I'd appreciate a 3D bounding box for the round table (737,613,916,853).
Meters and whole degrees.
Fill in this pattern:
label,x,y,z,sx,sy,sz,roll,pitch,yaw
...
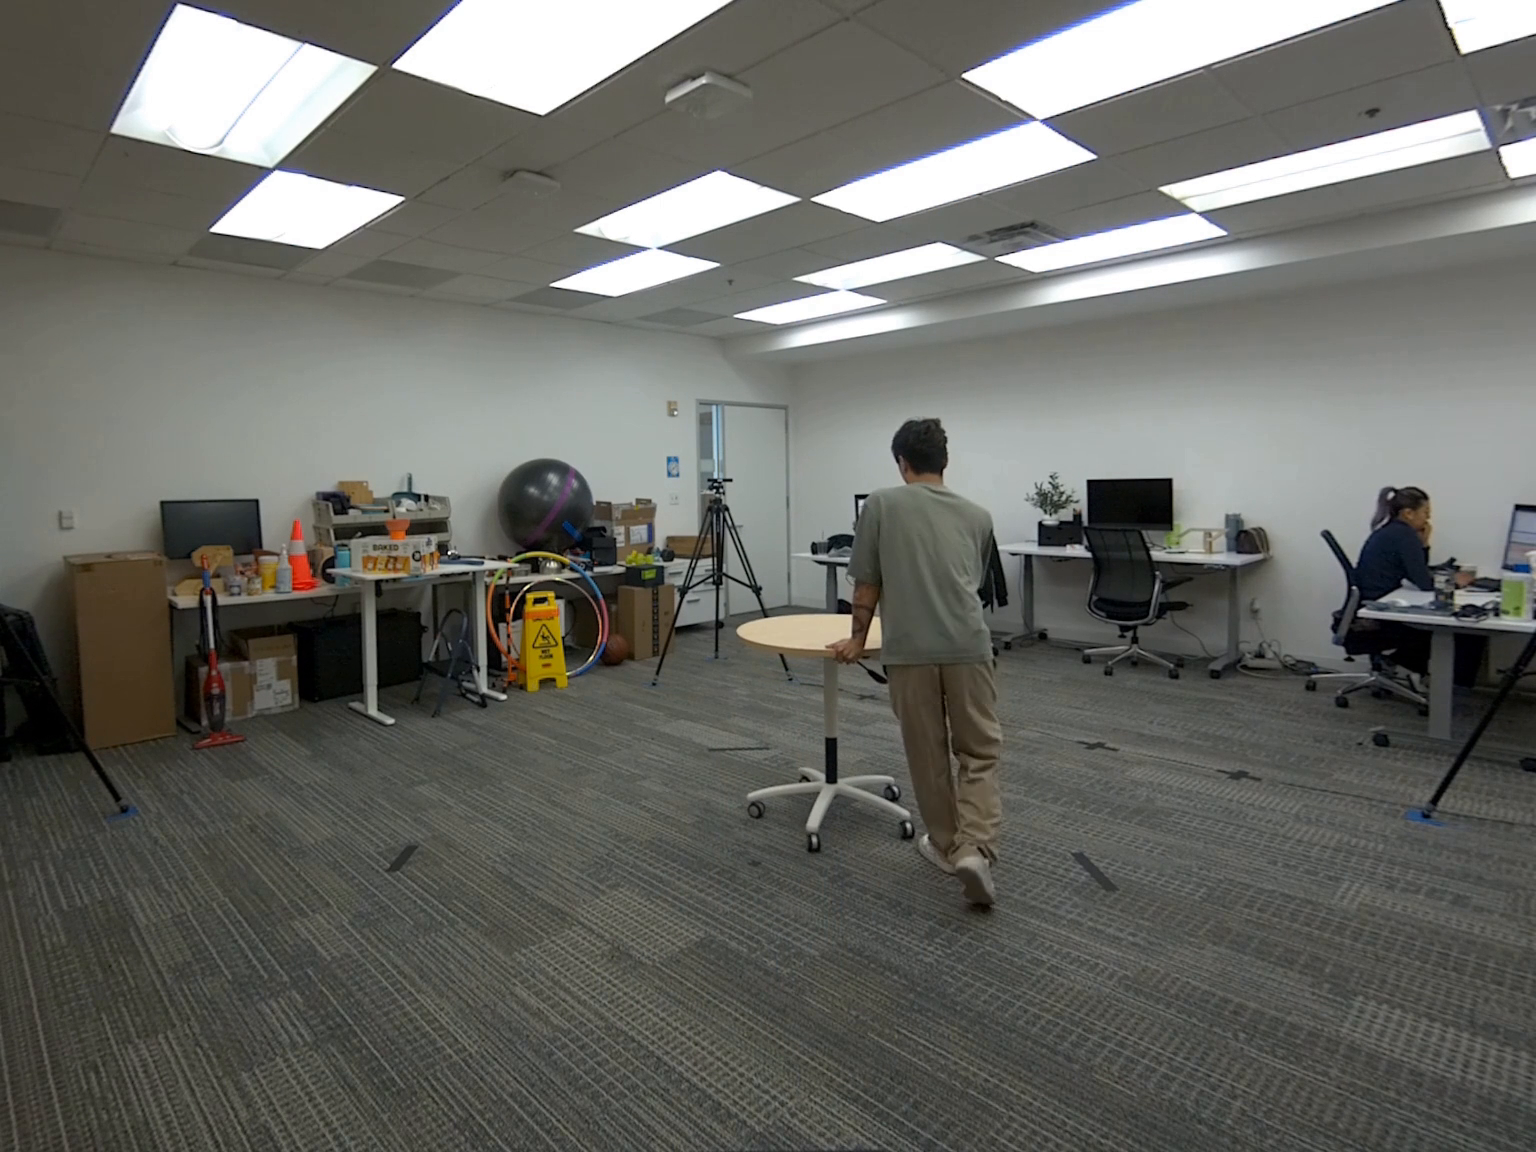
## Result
label,x,y,z,sx,sy,sz,roll,pitch,yaw
round table,0.258,0.604,3.524,0.784,0.783,0.789,-1,5,-2
